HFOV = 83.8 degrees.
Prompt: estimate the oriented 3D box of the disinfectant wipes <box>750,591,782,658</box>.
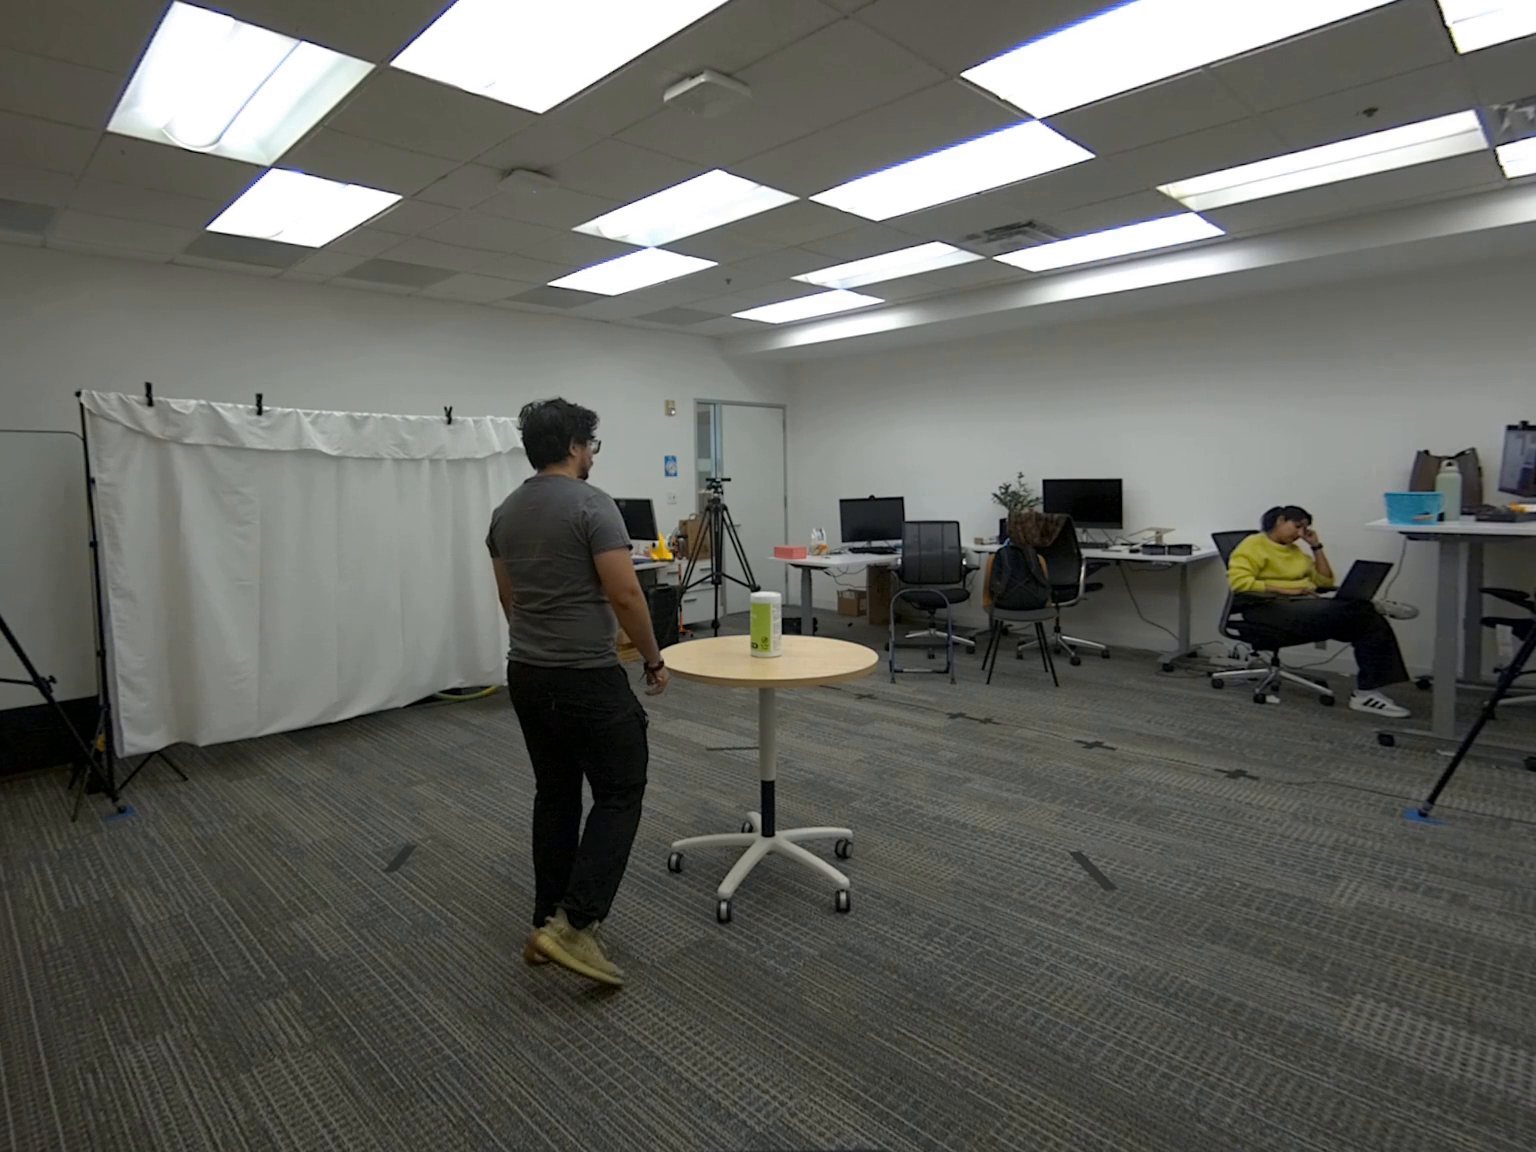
[{"bbox_3d":[-0.004,0.169,2.961,0.118,0.217,0.118,-2,4,-2],"label":"disinfectant wipes"}]
